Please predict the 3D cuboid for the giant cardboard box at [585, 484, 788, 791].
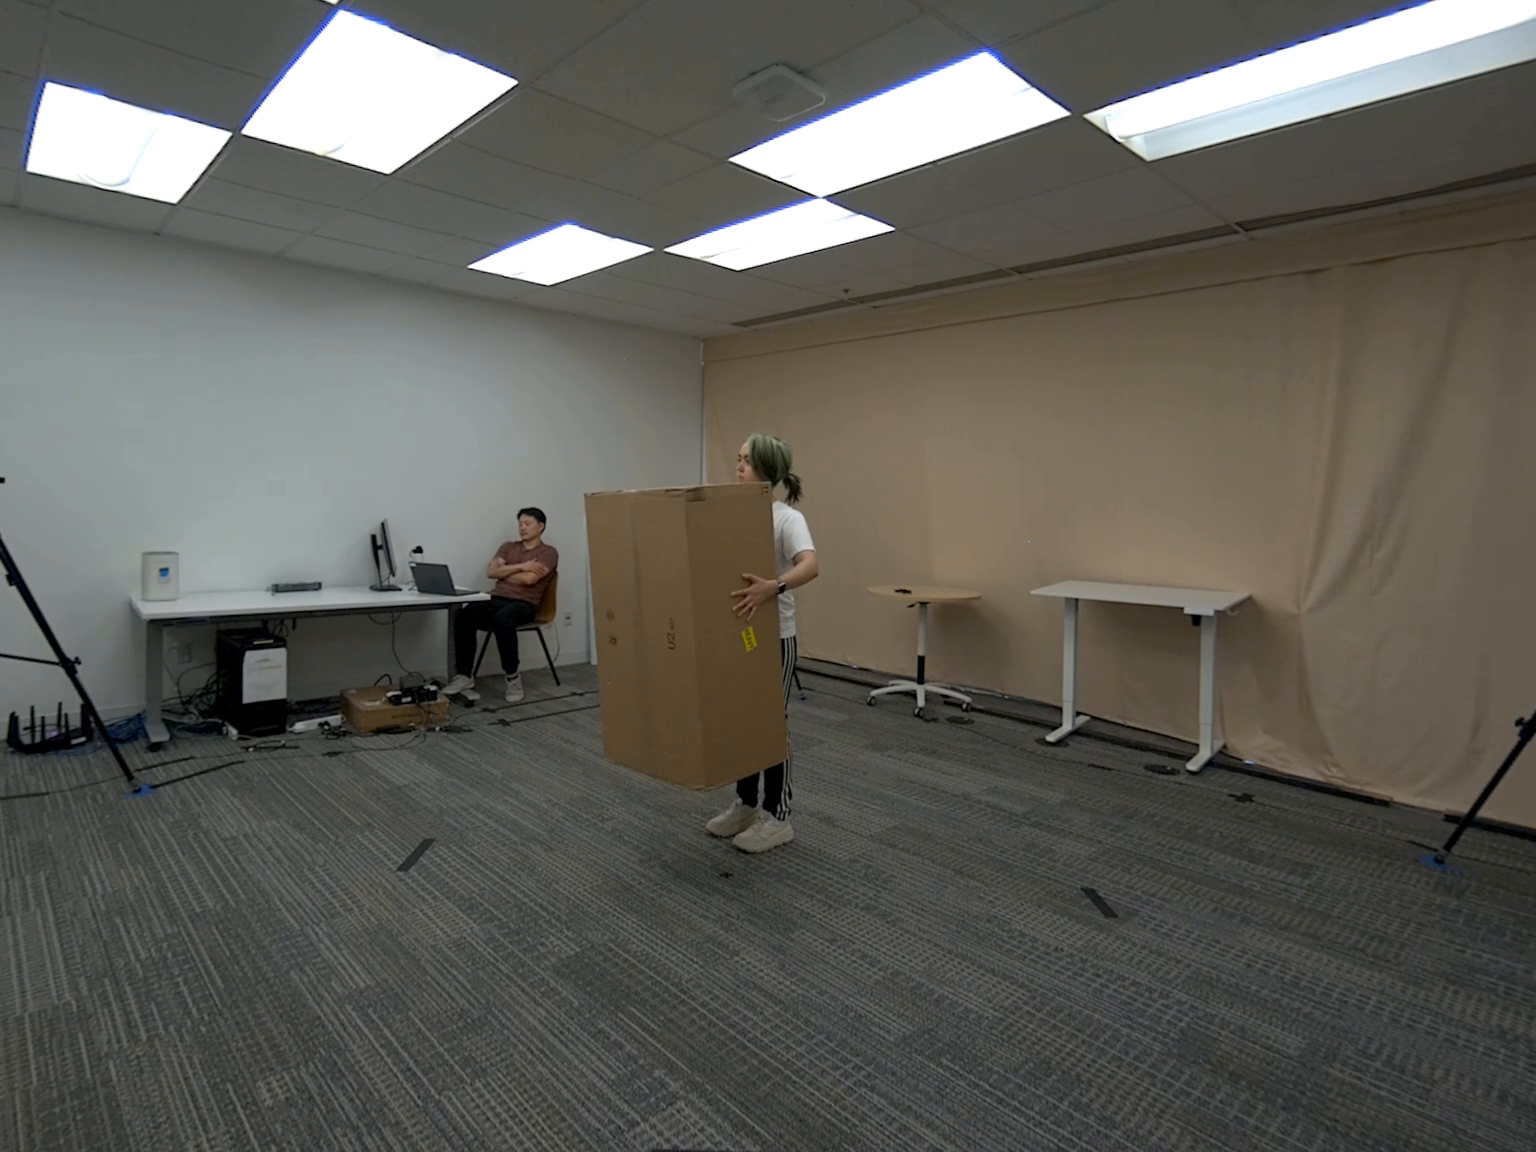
[{"bbox_3d":[-0.314,0.185,3.118,0.591,1.022,0.417,1,6,45],"label":"giant cardboard box"}]
